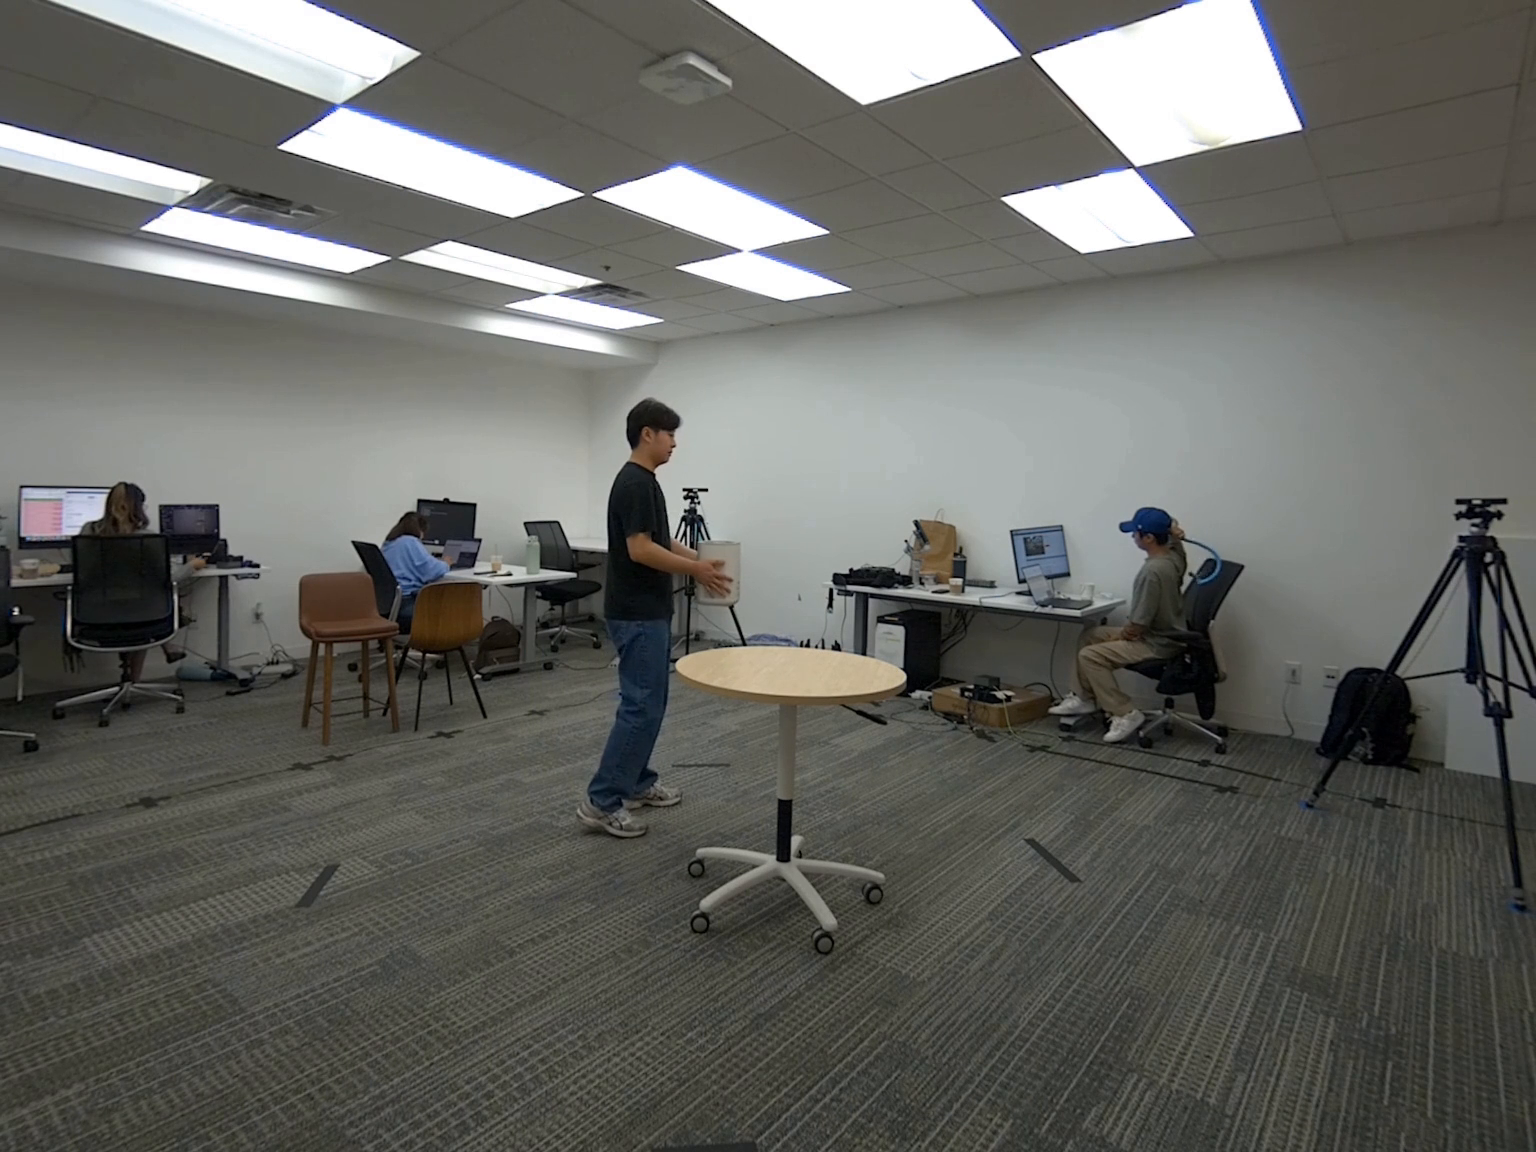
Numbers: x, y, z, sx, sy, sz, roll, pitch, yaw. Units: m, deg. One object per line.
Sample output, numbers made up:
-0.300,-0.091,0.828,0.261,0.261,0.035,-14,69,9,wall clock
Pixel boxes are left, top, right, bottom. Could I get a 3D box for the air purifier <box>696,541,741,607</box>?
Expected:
-0.233,-0.013,3.609,0.173,0.264,0.171,2,6,6,air purifier
